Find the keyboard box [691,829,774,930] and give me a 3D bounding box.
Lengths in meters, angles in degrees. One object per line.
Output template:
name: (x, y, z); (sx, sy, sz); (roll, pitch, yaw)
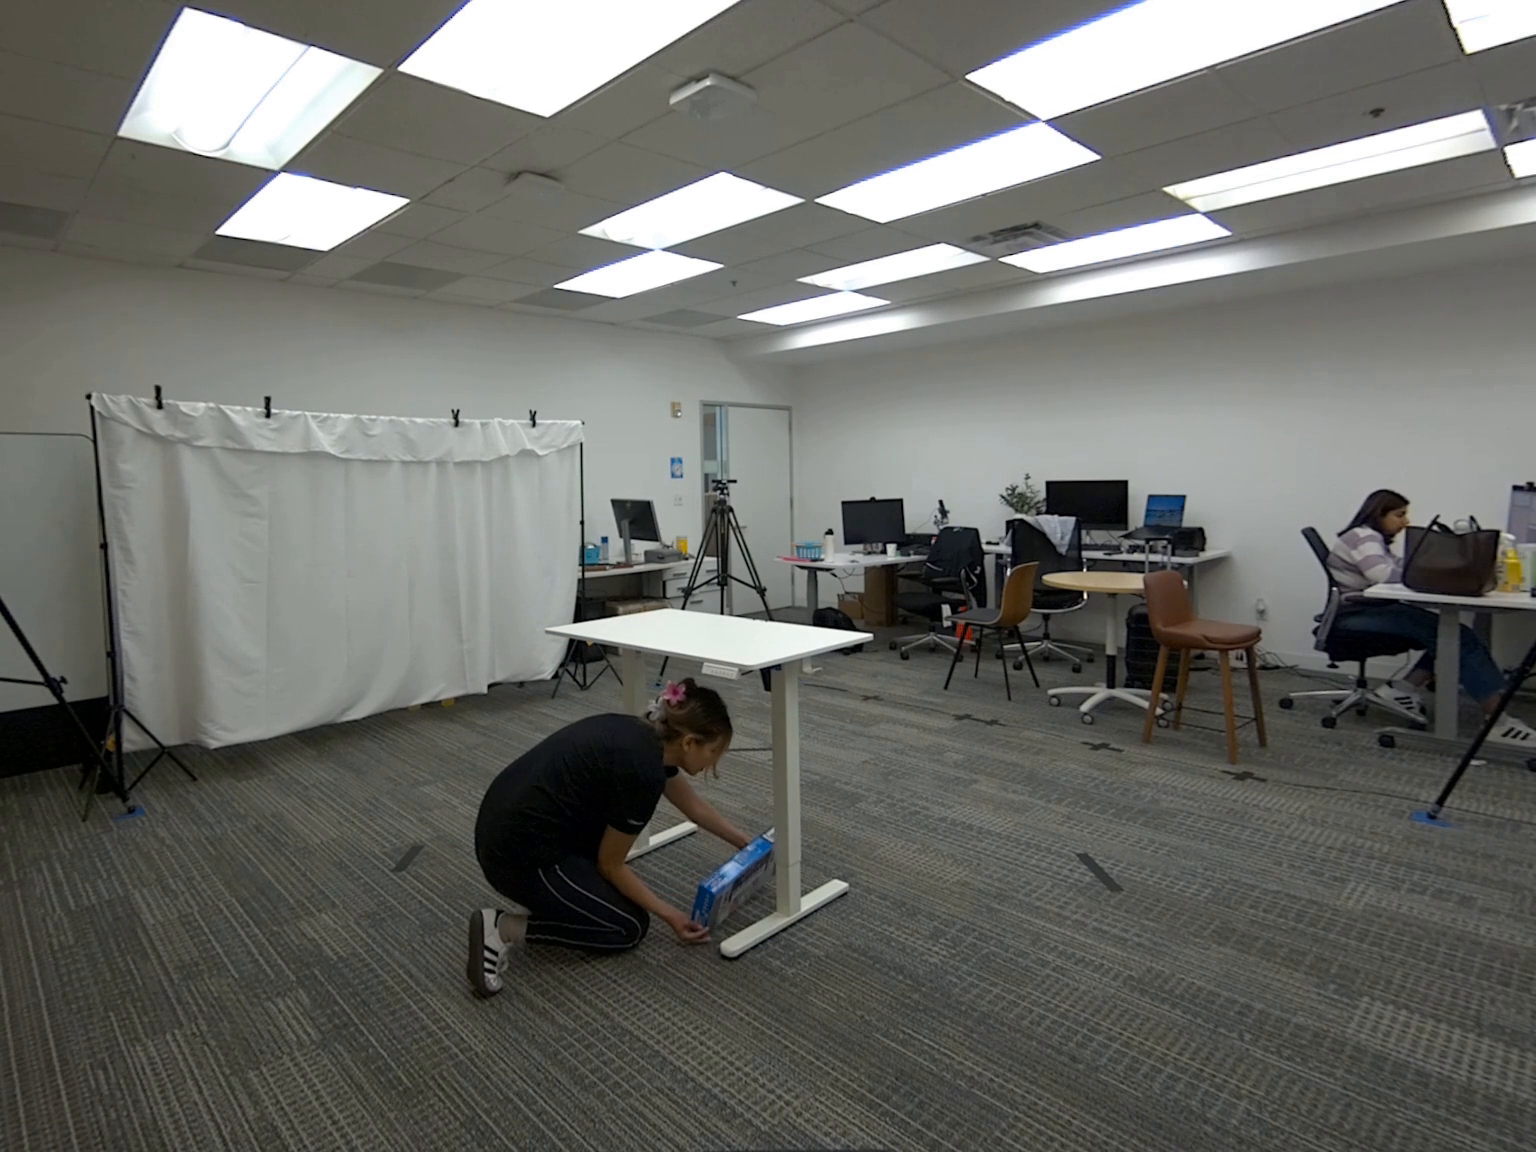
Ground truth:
keyboard box: (-0.081, 0.965, 2.738); (0.061, 0.174, 0.428); (23, 23, 29)
